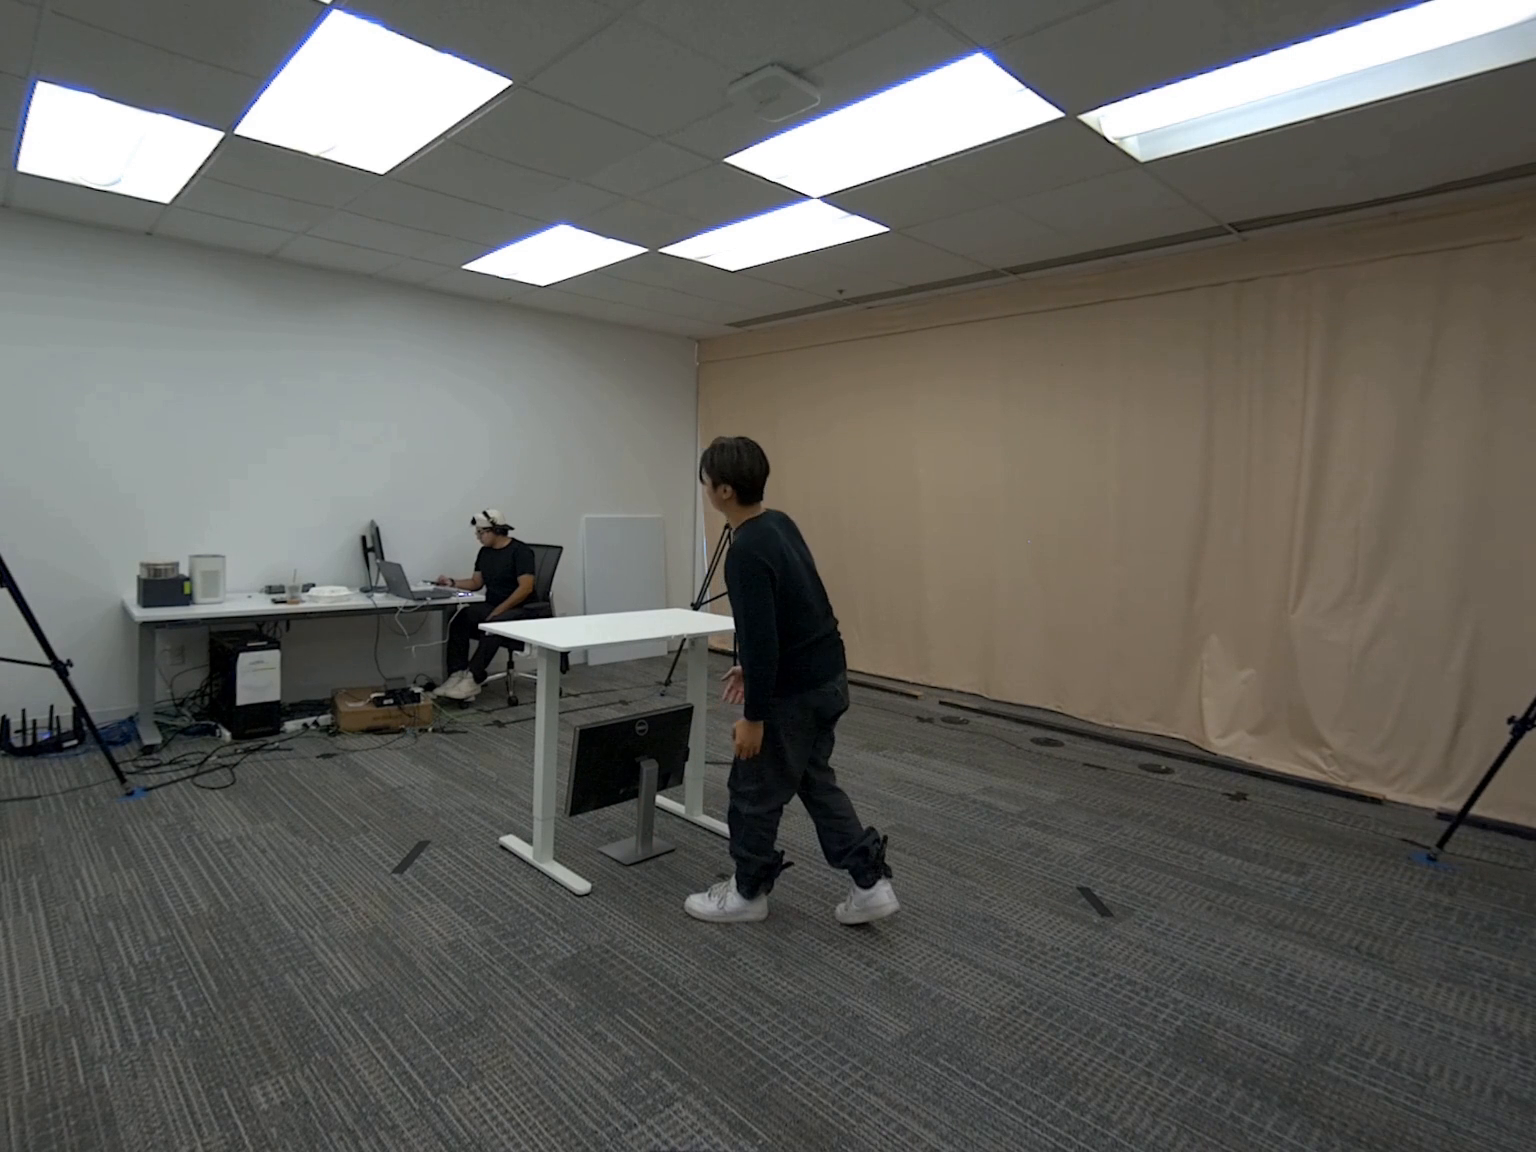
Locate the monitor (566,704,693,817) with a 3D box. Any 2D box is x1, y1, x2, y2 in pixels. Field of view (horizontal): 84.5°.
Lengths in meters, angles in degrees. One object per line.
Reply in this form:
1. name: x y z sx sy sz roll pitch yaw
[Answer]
1. monitor: -0.521 0.806 3.296 0.518 0.516 0.178 -4 0 -45
